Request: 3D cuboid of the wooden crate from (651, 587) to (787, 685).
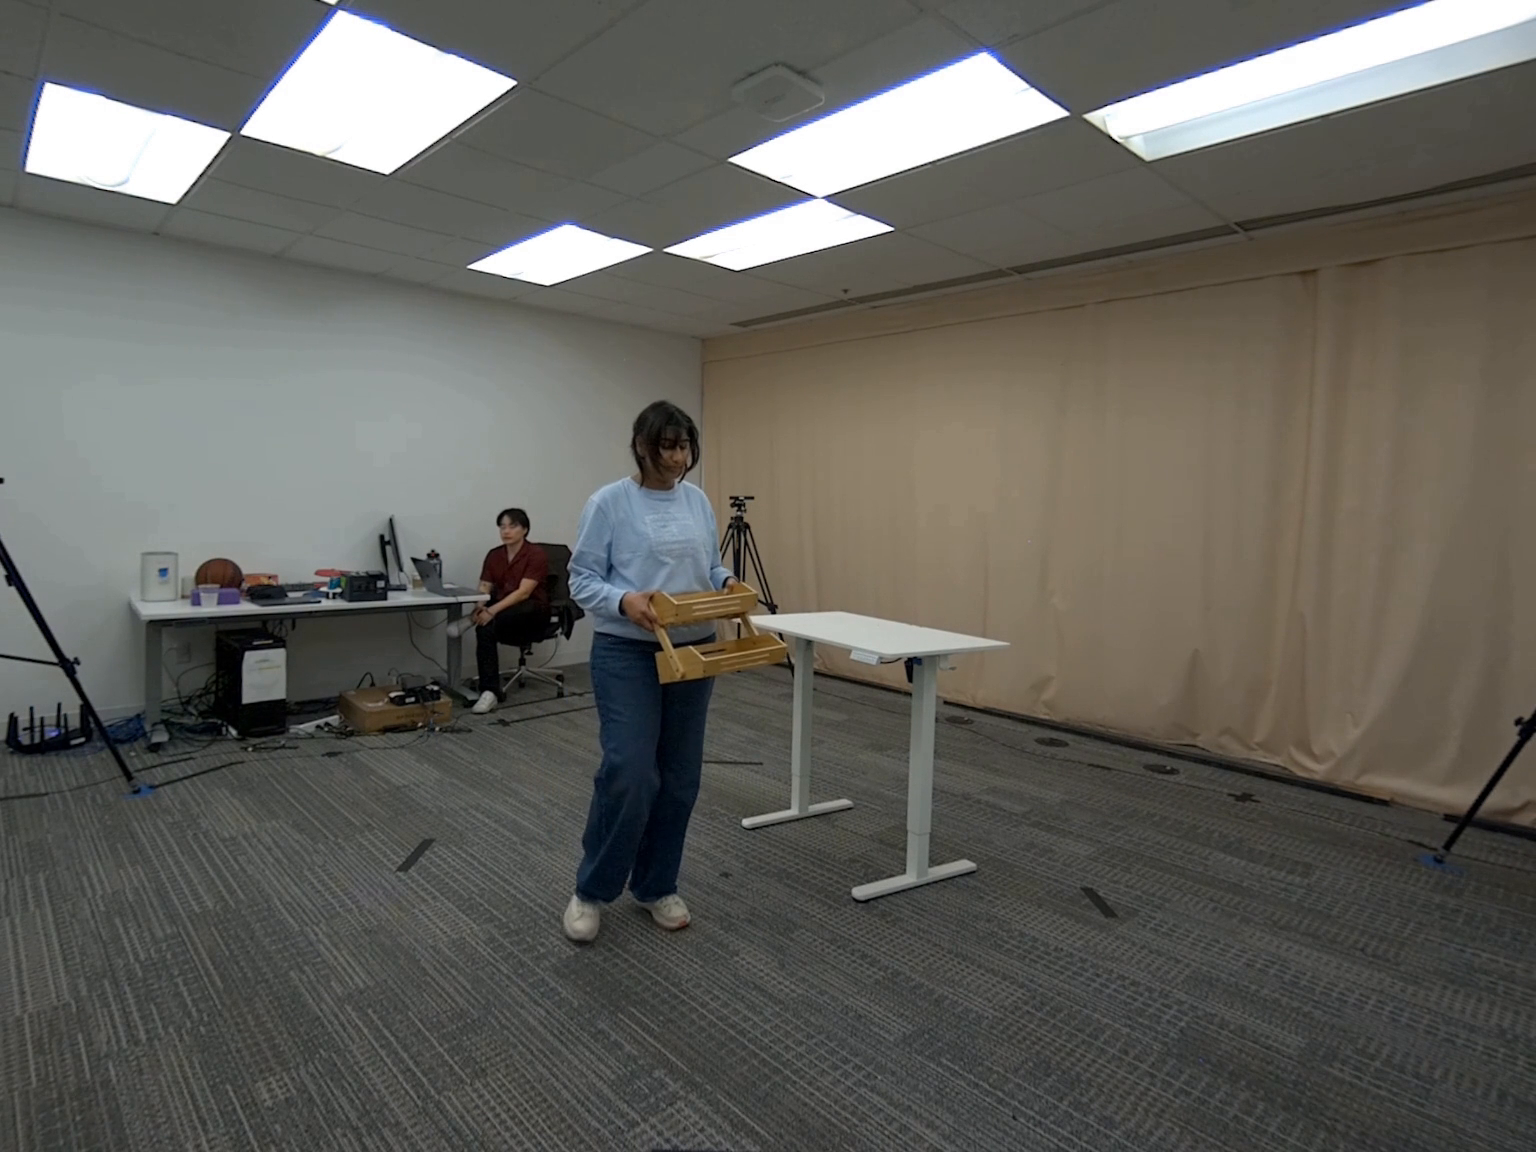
[{"bbox_3d":[-0.173,0.158,2.504,0.317,0.275,0.306,-5,-8,-38],"label":"wooden crate"}]
